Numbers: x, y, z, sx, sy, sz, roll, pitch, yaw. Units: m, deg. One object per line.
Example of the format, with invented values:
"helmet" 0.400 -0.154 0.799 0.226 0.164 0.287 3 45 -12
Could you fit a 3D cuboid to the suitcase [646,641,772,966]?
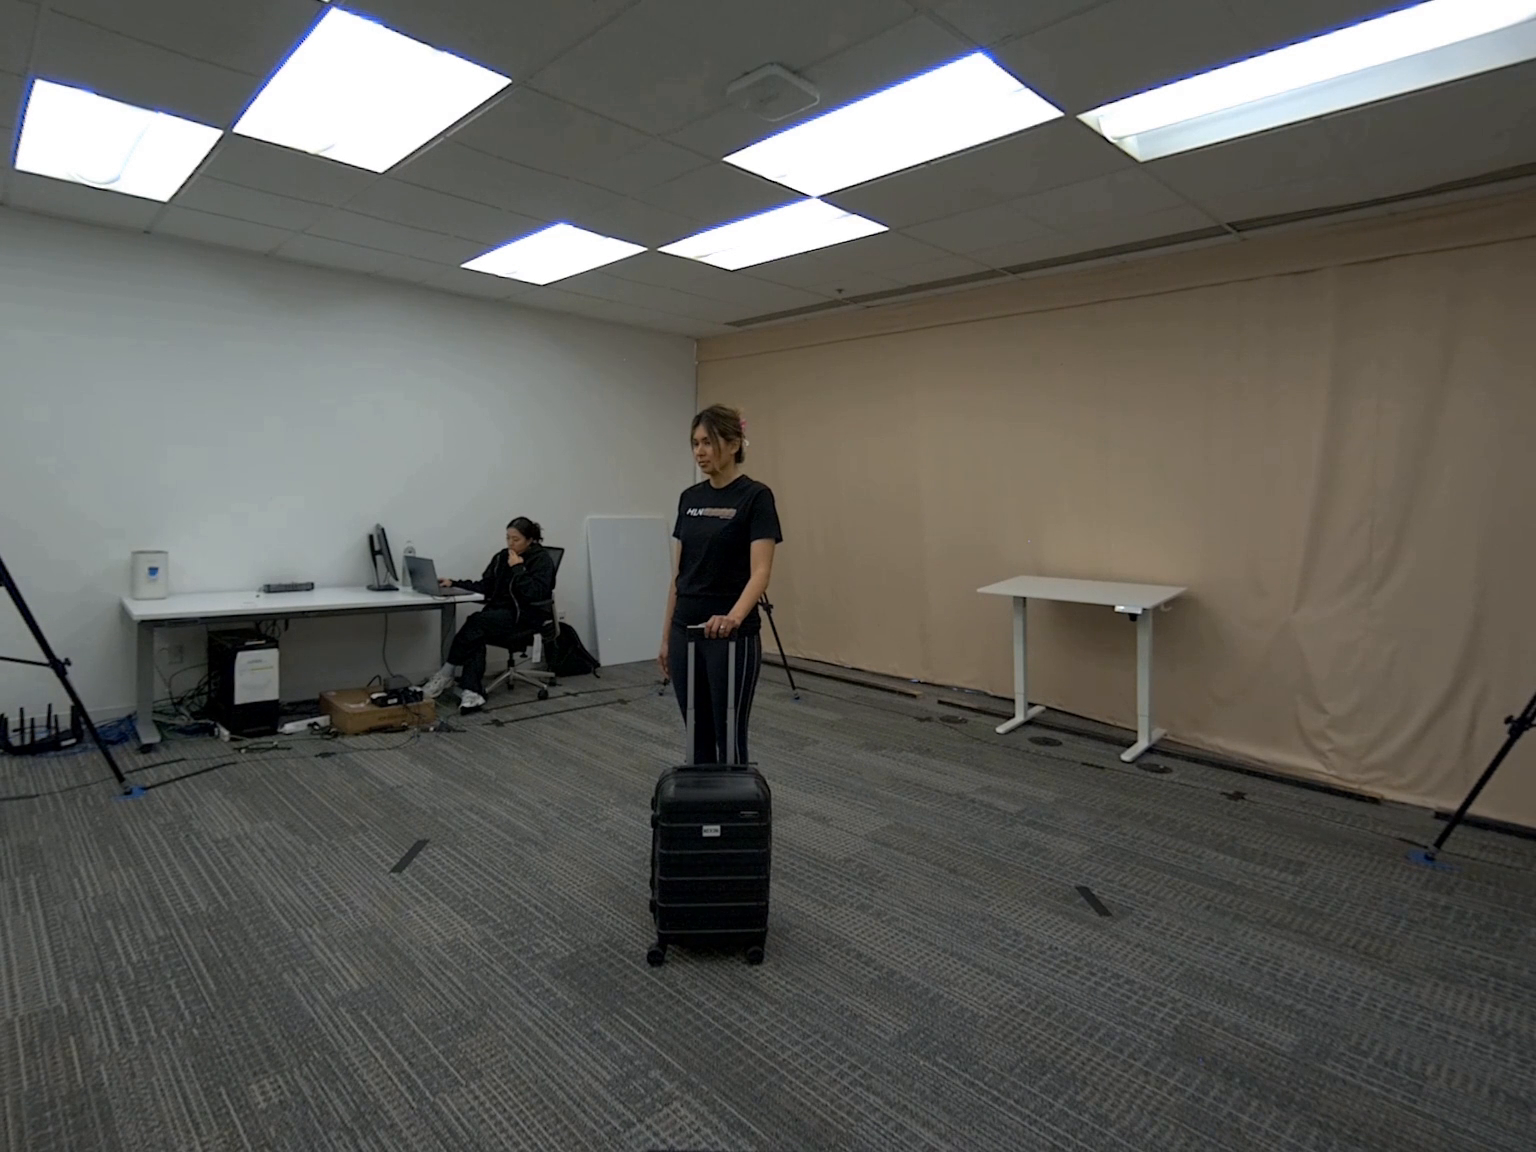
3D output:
"suitcase" -0.176 0.677 2.586 0.383 0.973 0.259 1 7 -3
